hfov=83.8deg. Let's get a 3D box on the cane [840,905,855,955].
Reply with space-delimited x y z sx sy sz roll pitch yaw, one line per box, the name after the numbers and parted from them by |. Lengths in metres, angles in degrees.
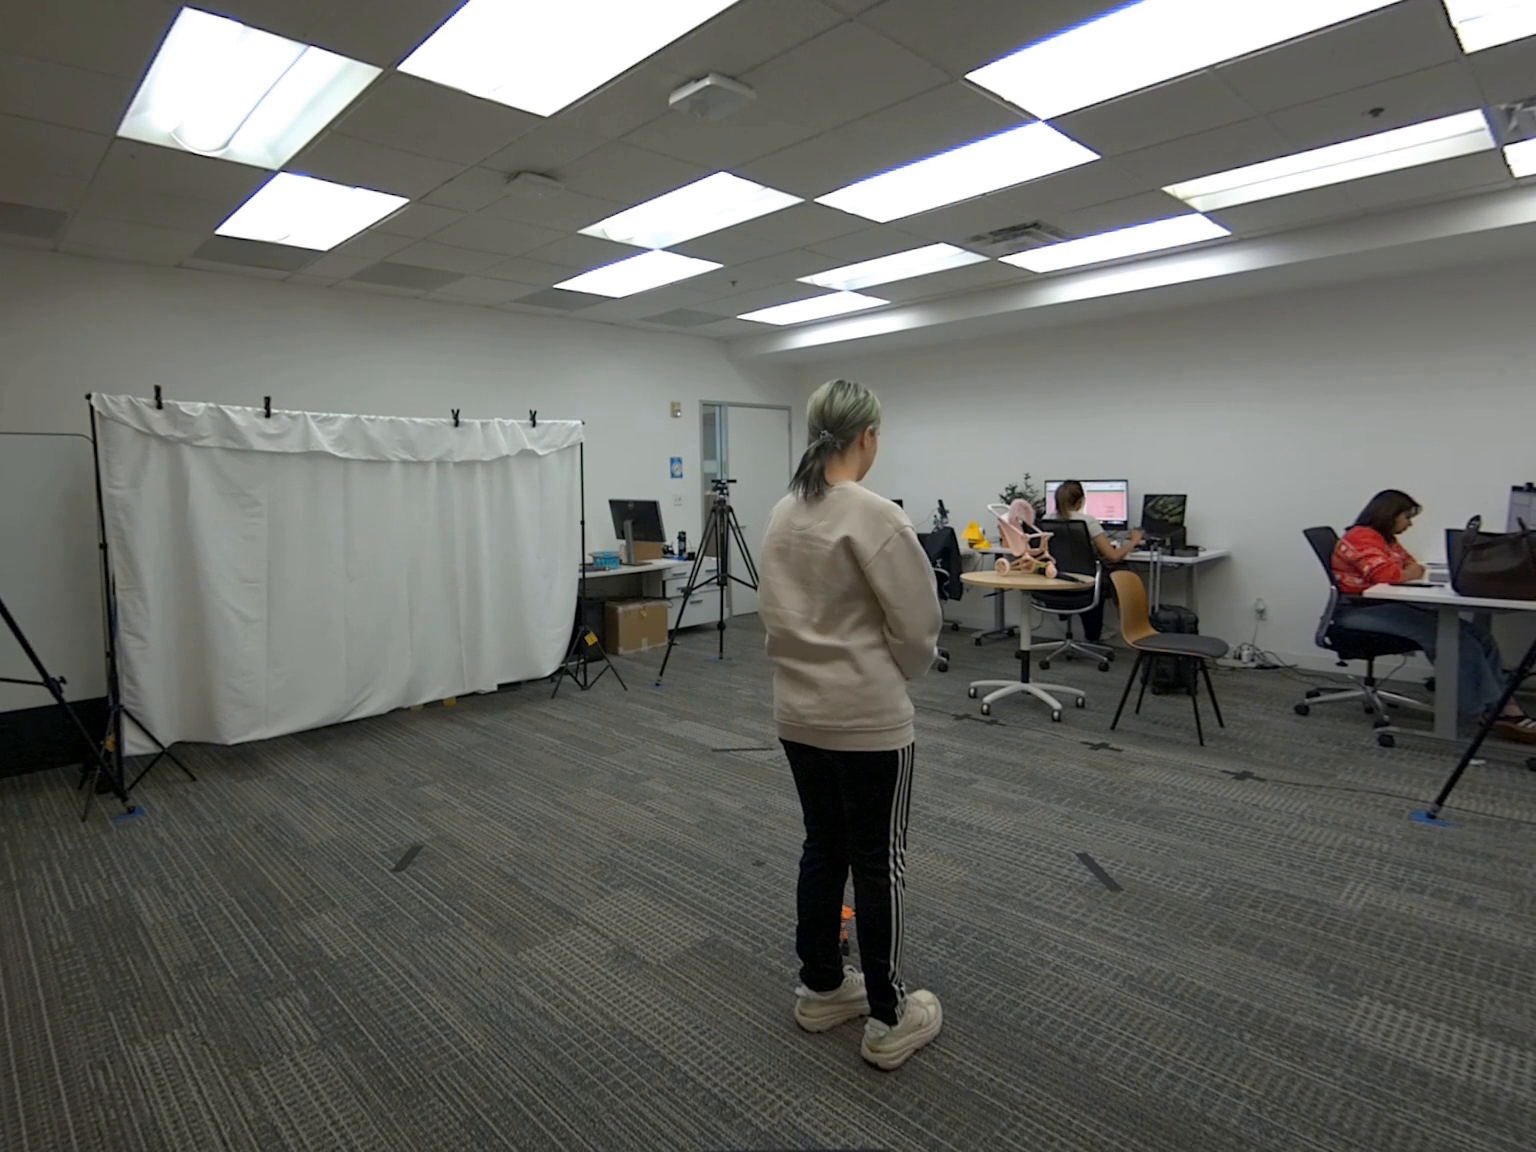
0.253 0.623 2.527 0.156 0.904 0.201 5 5 41 | cane
